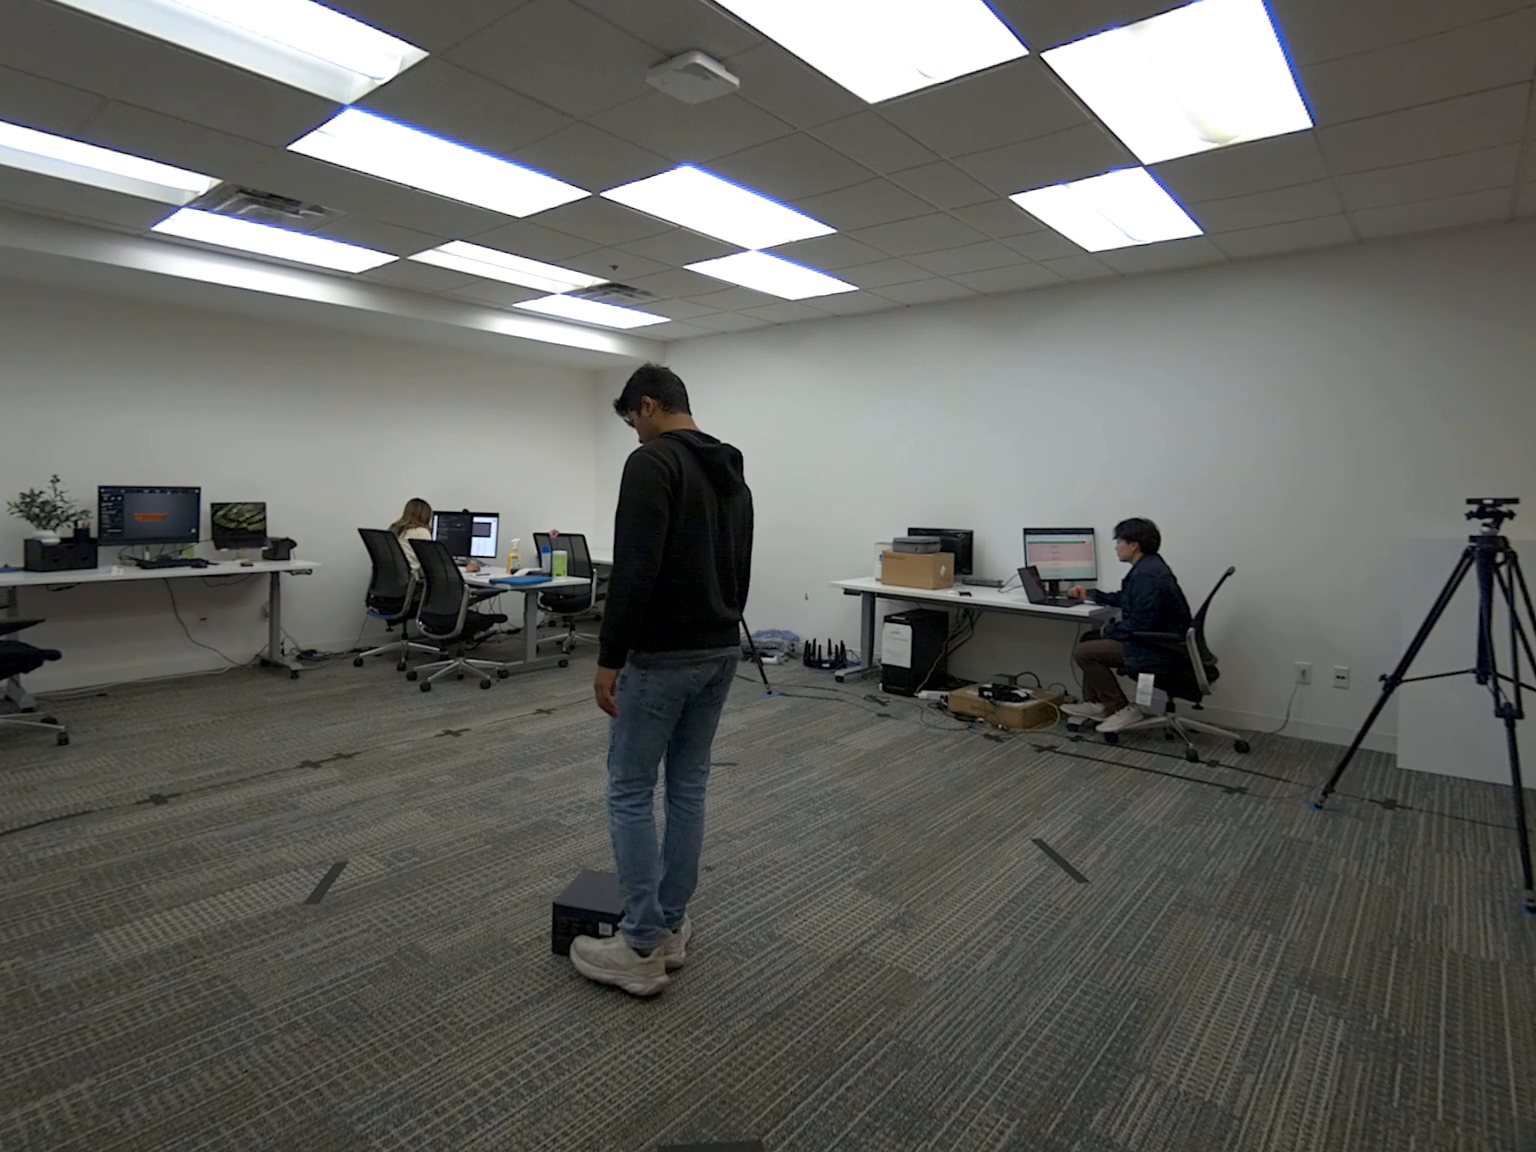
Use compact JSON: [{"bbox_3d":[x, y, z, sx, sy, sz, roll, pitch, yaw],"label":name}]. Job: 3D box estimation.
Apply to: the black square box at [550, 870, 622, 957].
[{"bbox_3d":[-0.526,1.026,2.620,0.220,0.155,0.226,2,6,12],"label":"black square box"}]
